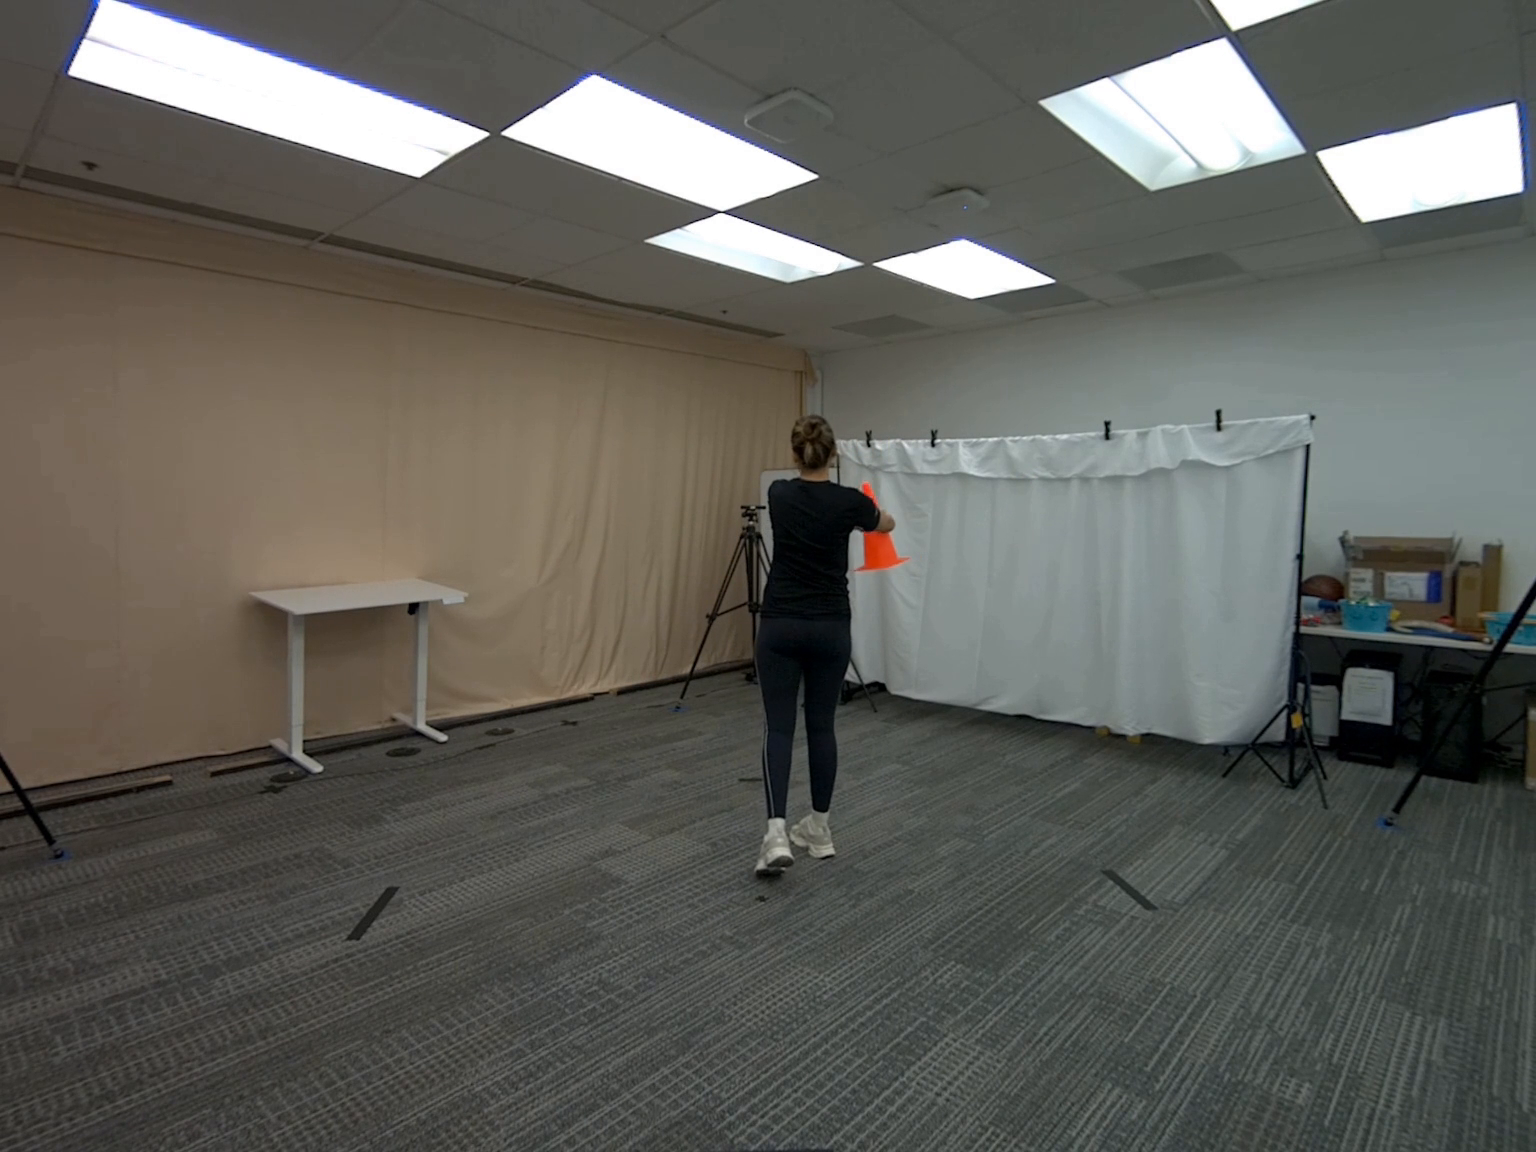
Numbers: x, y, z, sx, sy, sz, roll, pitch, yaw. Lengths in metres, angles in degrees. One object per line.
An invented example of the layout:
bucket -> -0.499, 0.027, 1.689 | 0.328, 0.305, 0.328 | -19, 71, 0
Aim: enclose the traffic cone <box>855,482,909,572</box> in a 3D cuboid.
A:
traffic cone -> 0.472, -0.233, 3.828 | 0.208, 0.380, 0.202 | -10, 11, 24
